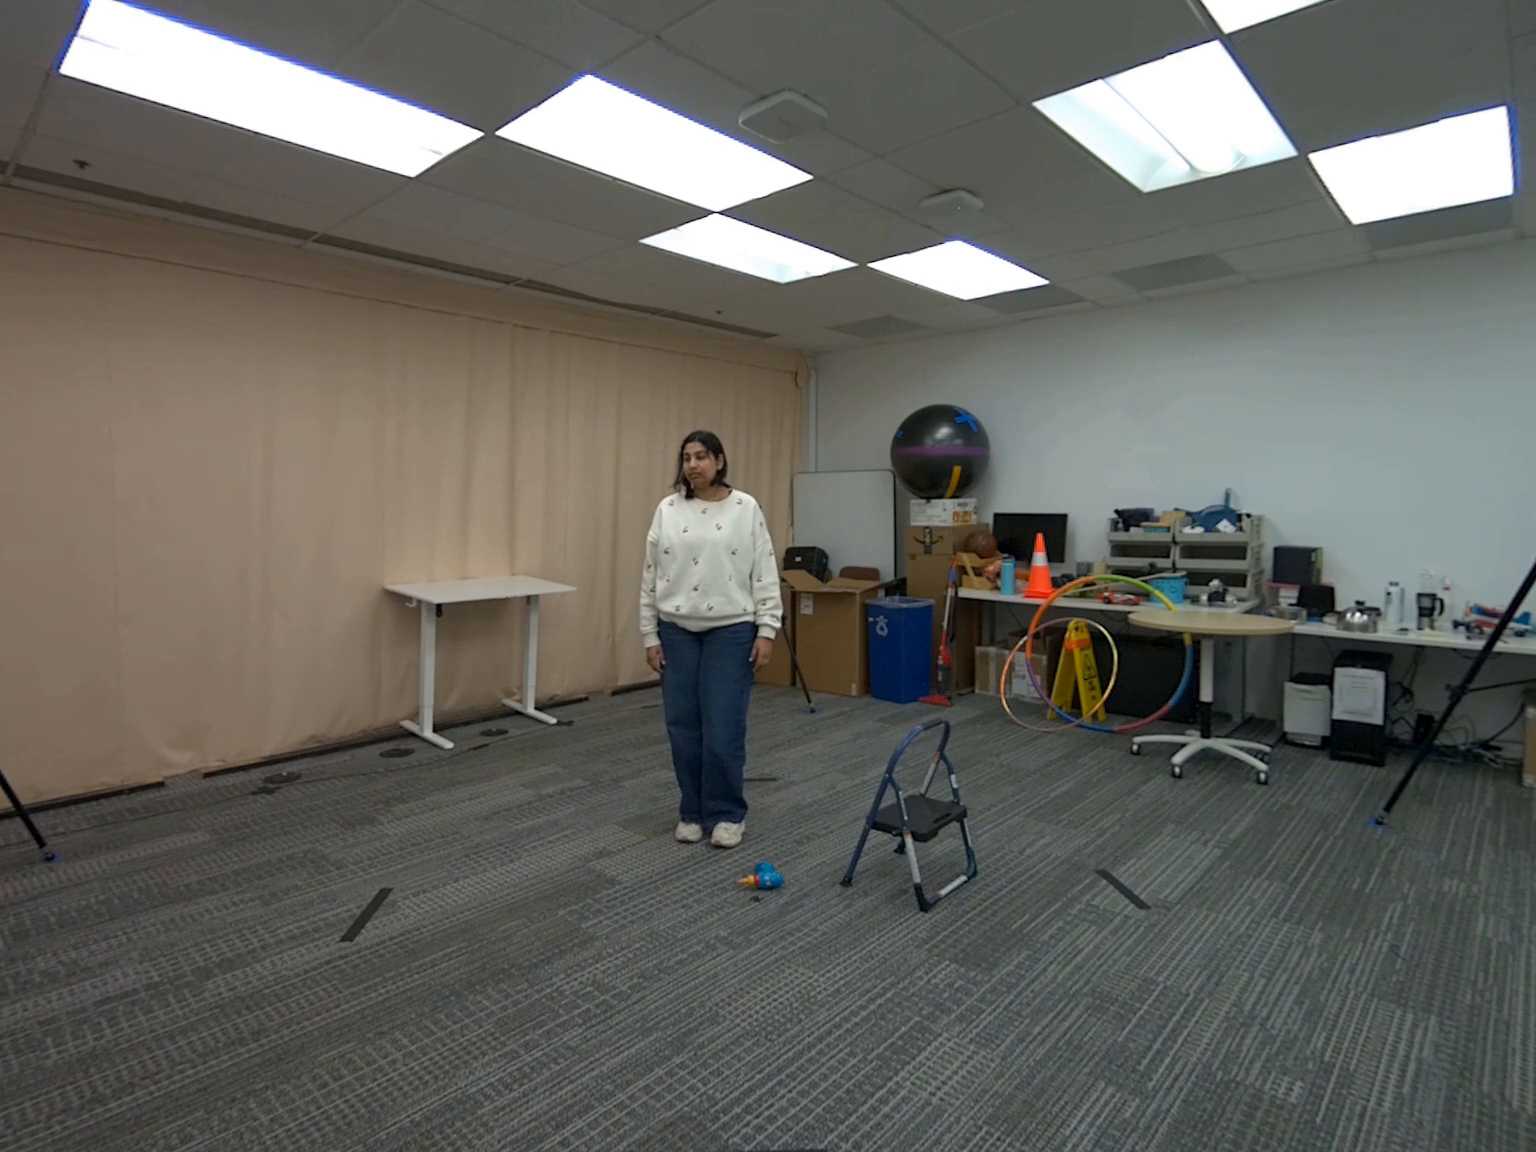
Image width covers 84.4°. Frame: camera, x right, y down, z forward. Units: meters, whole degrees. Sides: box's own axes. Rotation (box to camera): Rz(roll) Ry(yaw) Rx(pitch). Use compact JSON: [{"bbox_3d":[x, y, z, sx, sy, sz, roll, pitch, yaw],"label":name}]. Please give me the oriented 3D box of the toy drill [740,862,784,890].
[{"bbox_3d":[-0.027,1.113,3.107,0.167,0.061,0.148,1,5,-13],"label":"toy drill"}]
